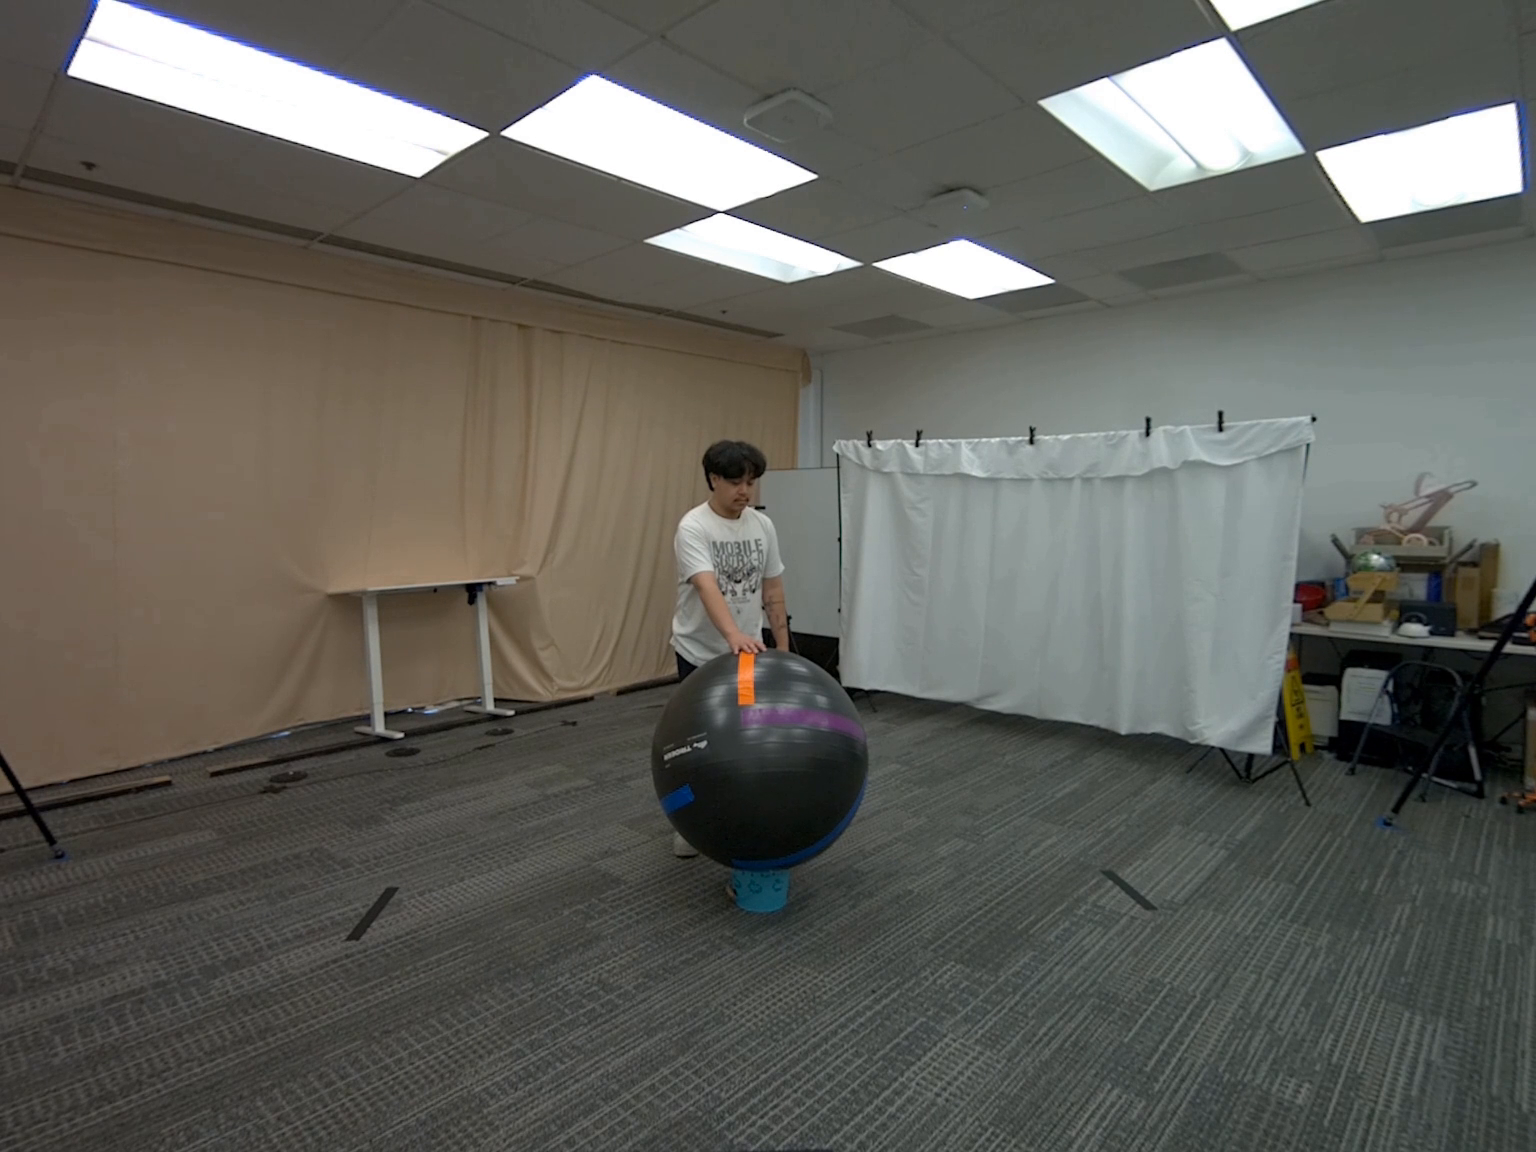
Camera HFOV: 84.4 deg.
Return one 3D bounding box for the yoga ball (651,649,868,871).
[{"bbox_3d":[-0.033,0.641,2.947,0.757,0.756,0.761,0,4,-2],"label":"yoga ball"}]
